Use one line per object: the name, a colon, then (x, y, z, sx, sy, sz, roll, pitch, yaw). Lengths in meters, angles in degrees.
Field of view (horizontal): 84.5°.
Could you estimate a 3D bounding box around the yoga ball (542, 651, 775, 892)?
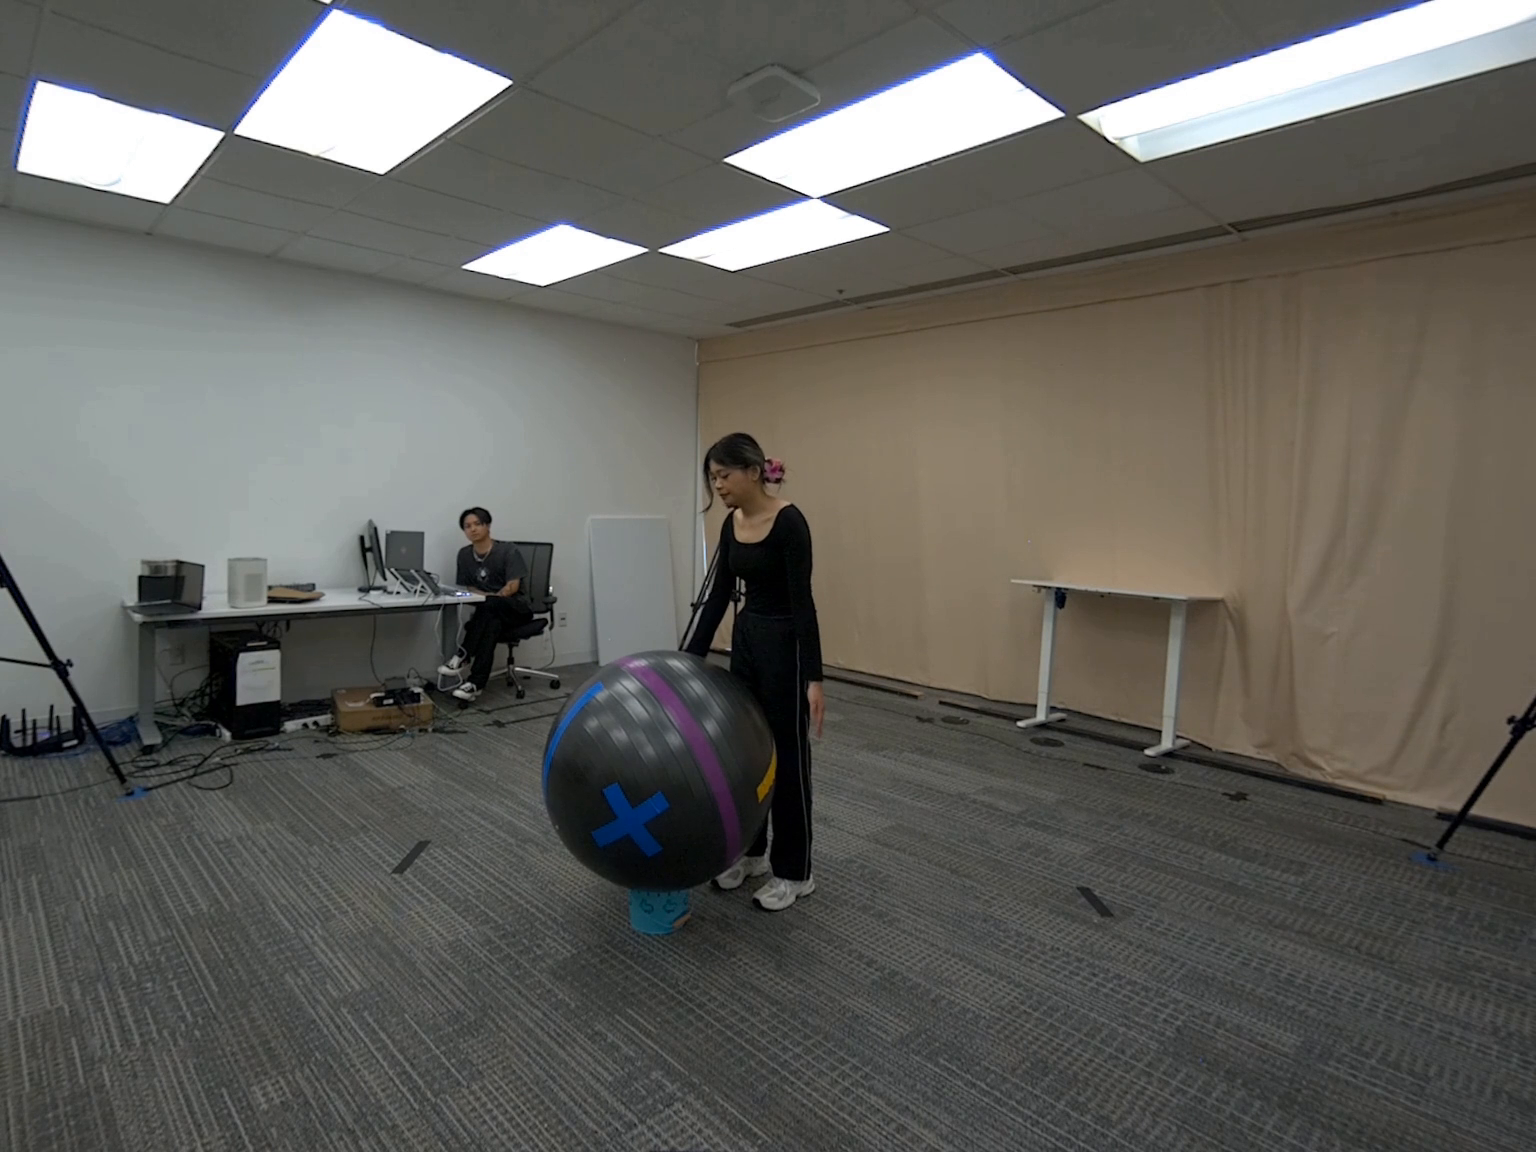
yoga ball: (-0.352, 0.630, 2.733, 0.757, 0.756, 0.761, 1, 4, -1)
